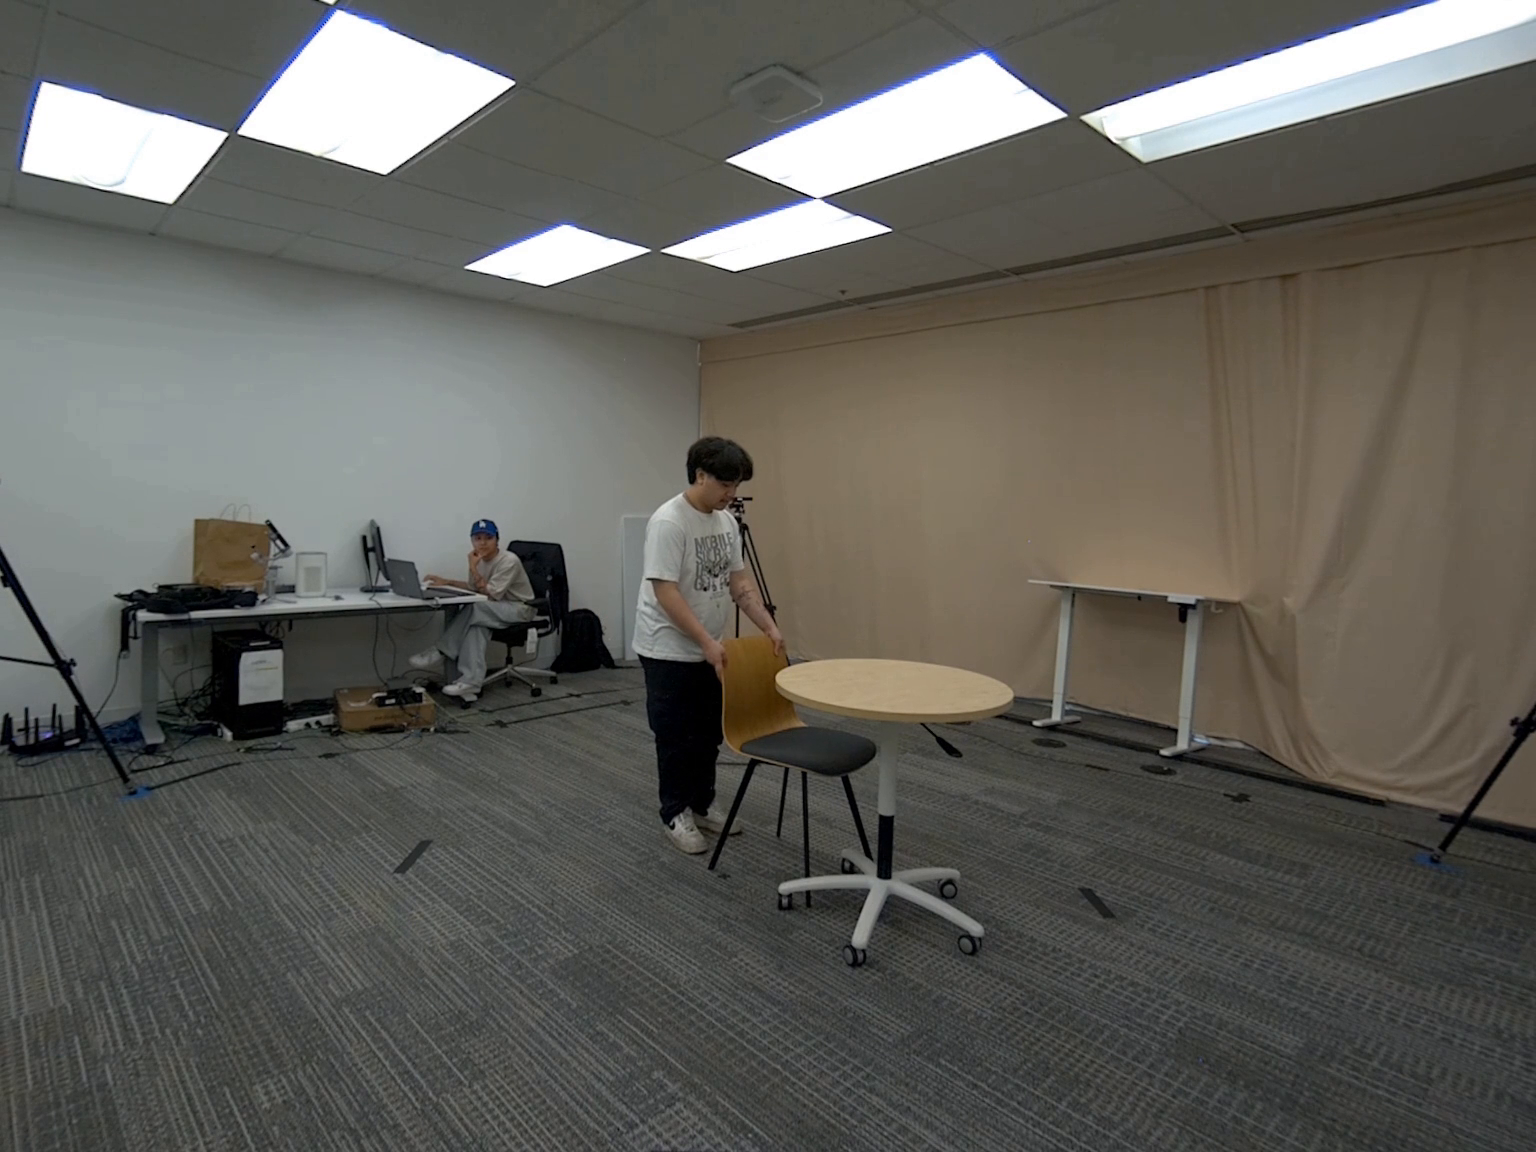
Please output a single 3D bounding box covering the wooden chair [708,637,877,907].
[{"bbox_3d":[0.098,0.683,3.151,0.535,0.877,0.467,-1,0,38],"label":"wooden chair"}]
